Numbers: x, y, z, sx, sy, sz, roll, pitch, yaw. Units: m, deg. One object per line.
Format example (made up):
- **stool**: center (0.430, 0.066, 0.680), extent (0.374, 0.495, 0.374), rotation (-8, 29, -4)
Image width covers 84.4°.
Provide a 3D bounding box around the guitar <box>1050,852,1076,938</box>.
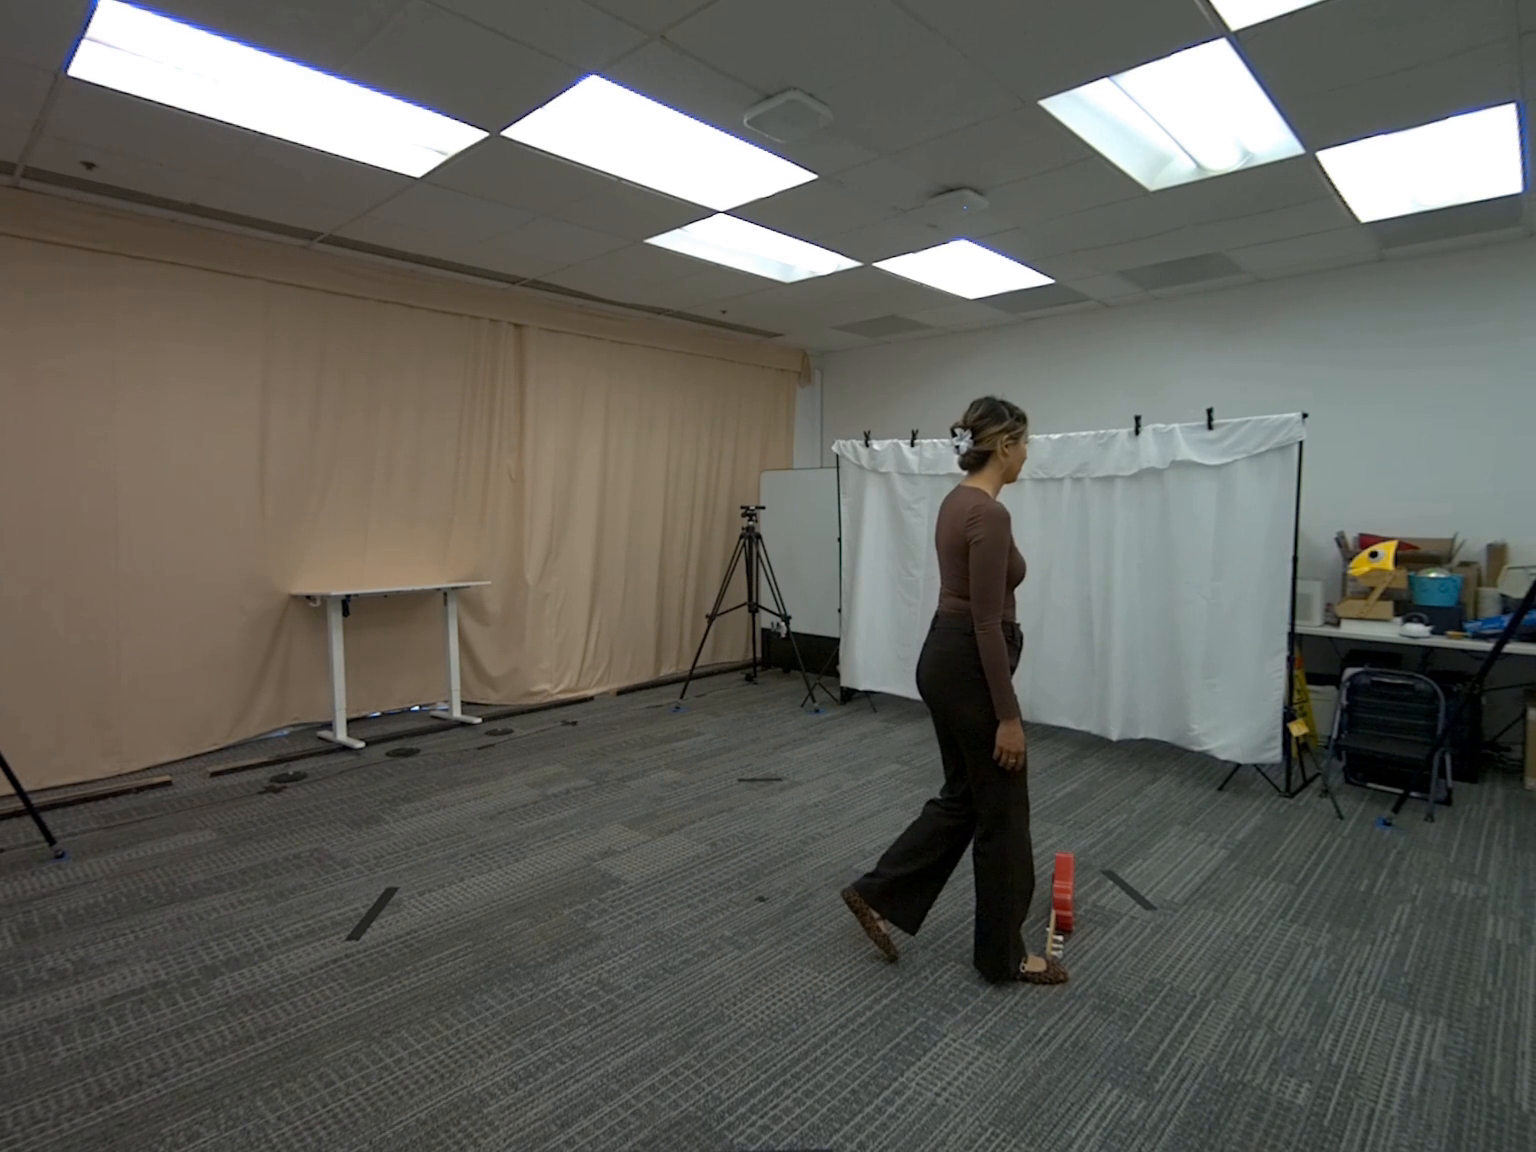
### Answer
- **guitar**: center (0.963, 1.125, 2.740), extent (0.072, 0.190, 0.494), rotation (0, 23, 22)
